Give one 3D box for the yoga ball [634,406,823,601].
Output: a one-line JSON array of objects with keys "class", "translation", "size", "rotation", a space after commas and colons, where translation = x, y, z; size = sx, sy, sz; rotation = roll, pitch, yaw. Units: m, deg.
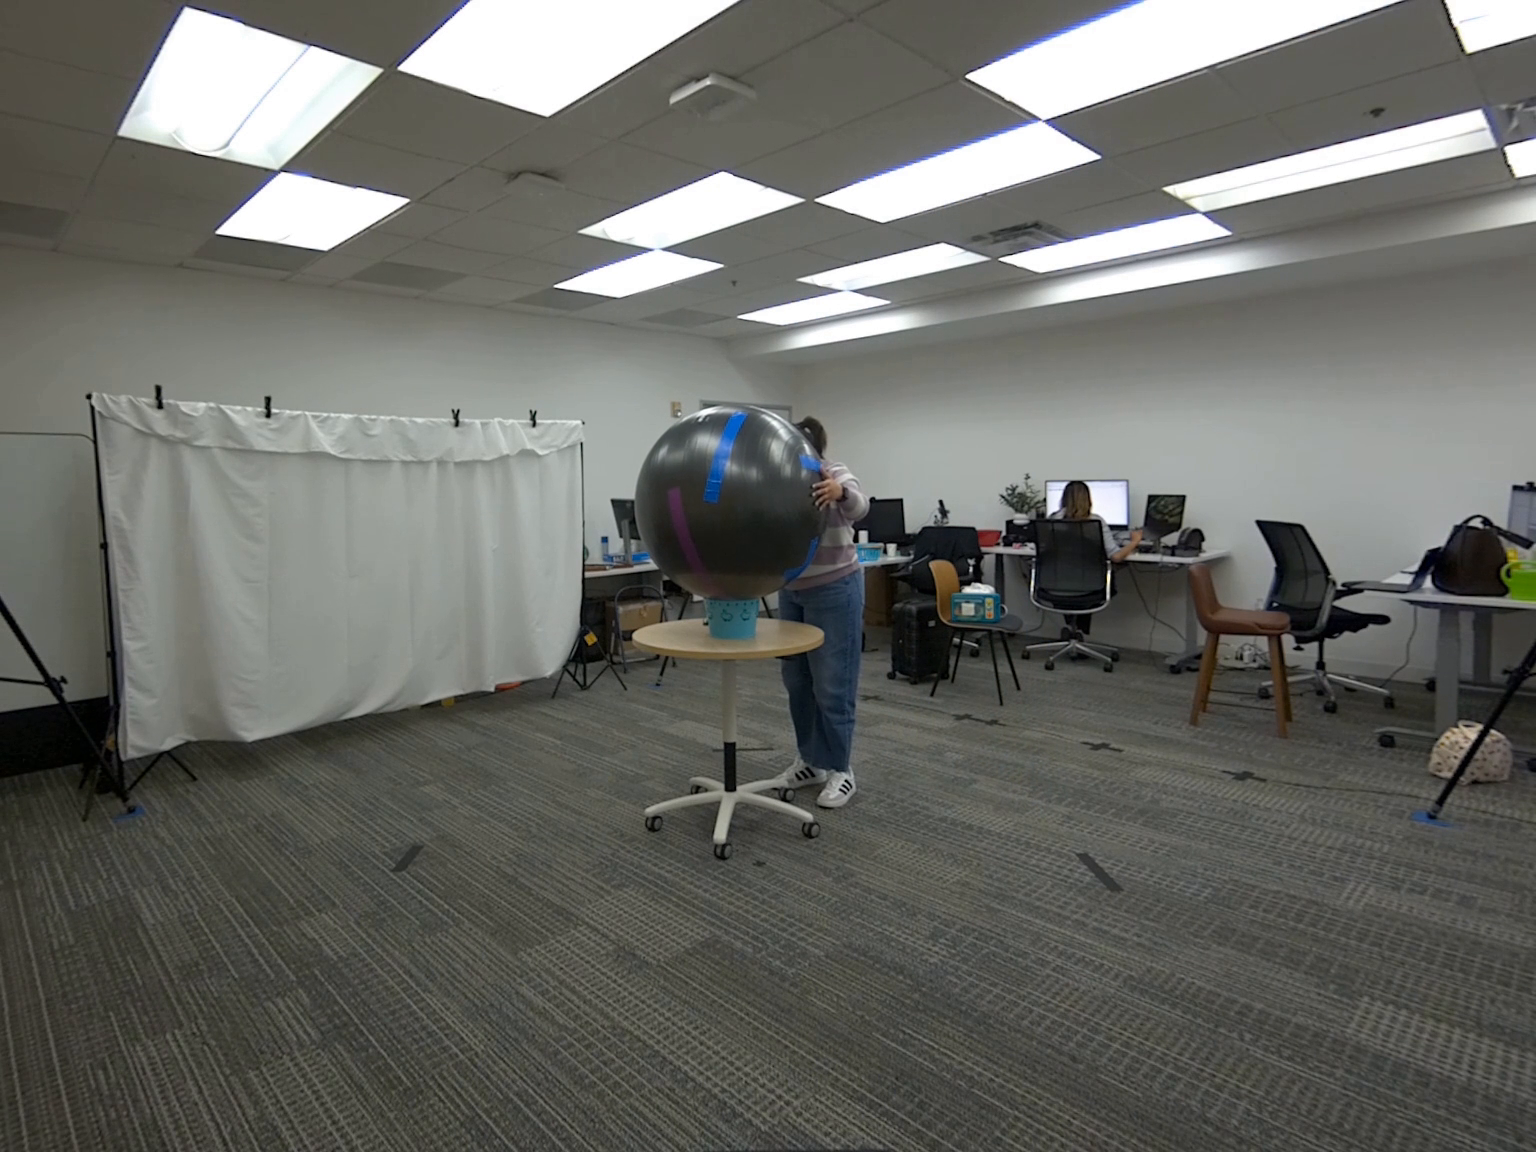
[{"class": "yoga ball", "translation": [-0.147, -0.279, 3.320], "size": [0.757, 0.755, 0.762], "rotation": [-1, 5, -2]}]
